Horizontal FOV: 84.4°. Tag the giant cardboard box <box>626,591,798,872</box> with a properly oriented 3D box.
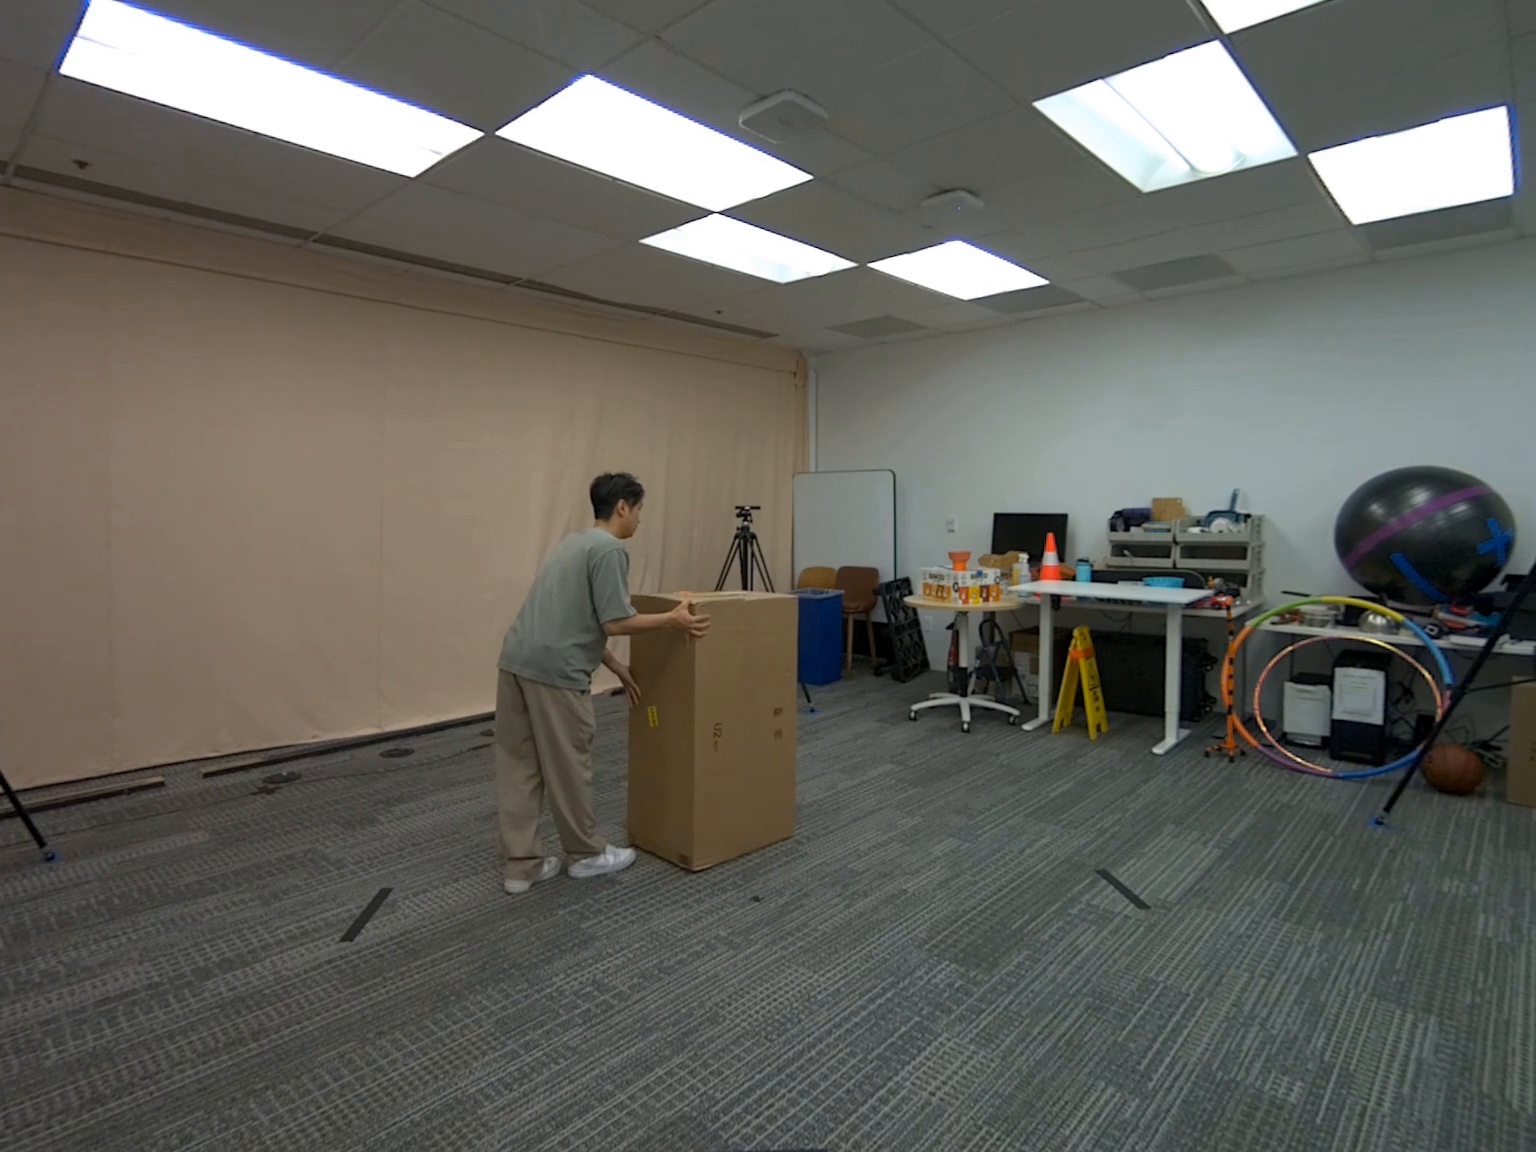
[{"bbox_3d":[-0.221,0.591,3.517,0.559,1.025,0.440,-1,2,-44],"label":"giant cardboard box"}]
